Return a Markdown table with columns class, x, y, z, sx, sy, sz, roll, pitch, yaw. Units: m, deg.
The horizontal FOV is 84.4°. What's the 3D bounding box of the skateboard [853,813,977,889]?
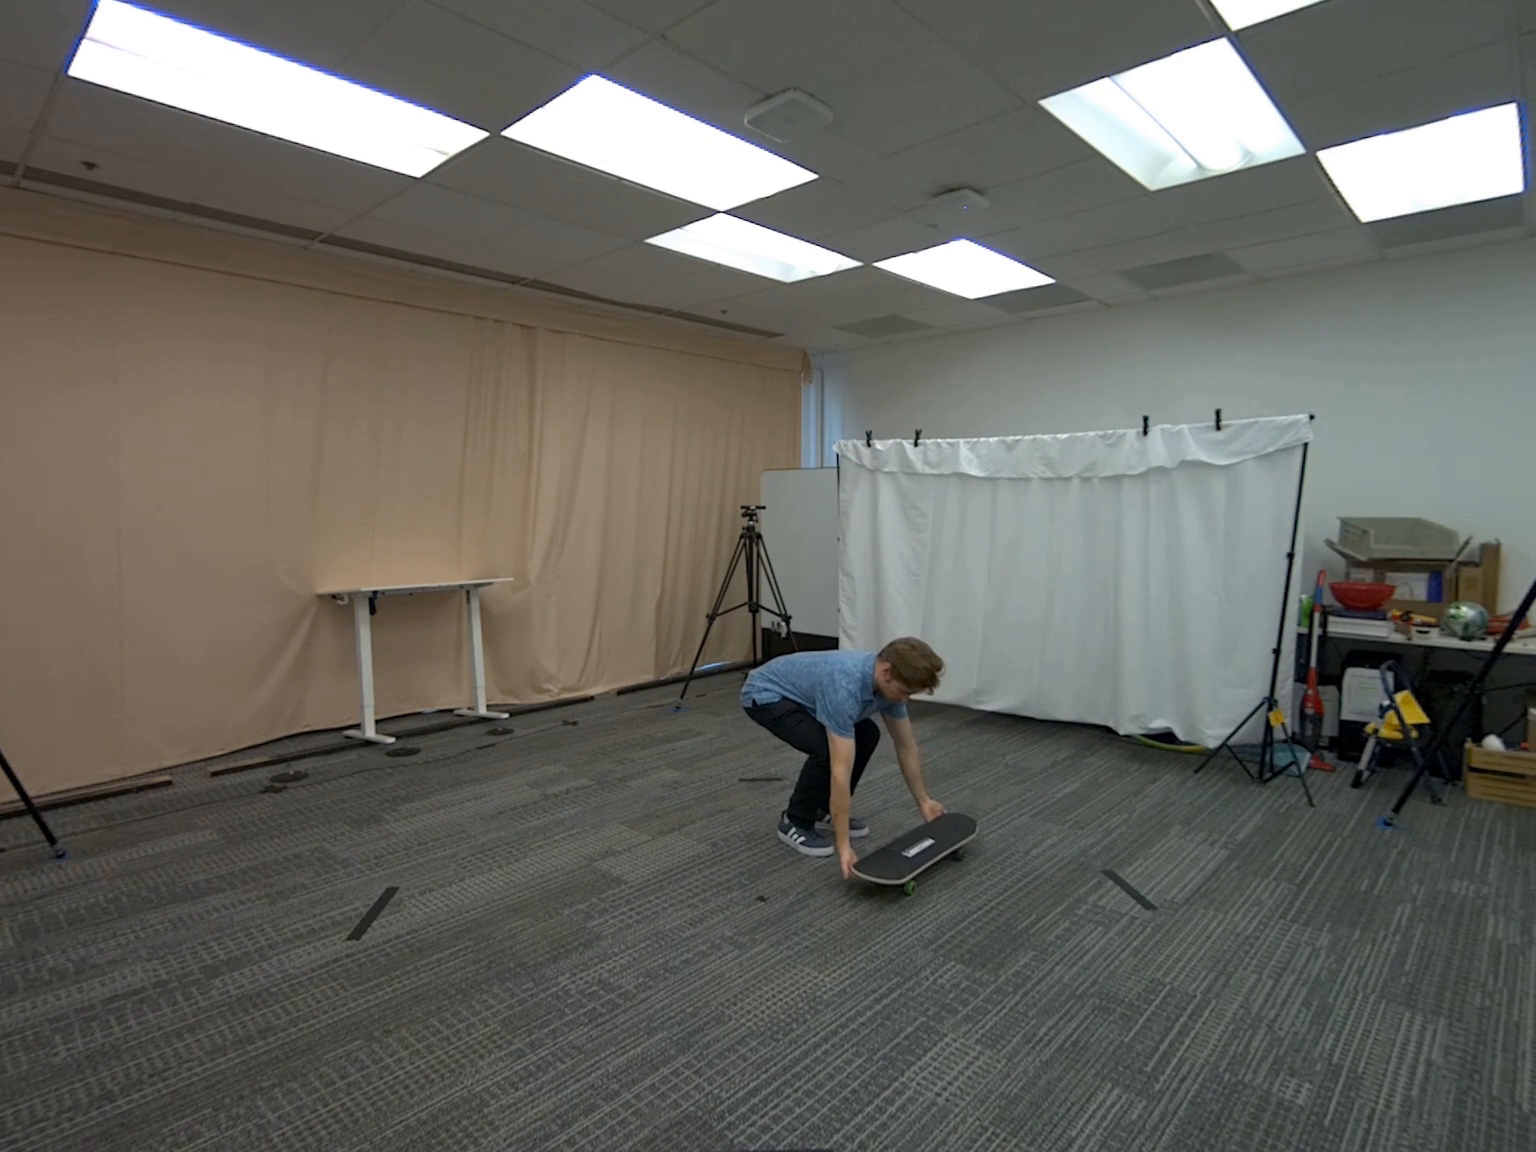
| class | x | y | z | sx | sy | sz | roll | pitch | yaw |
| --- | --- | --- | --- | --- | --- | --- | --- | --- | --- |
| skateboard | 0.568 | 1.056 | 3.202 | 0.200 | 0.110 | 0.762 | 8 | 8 | 40 |
